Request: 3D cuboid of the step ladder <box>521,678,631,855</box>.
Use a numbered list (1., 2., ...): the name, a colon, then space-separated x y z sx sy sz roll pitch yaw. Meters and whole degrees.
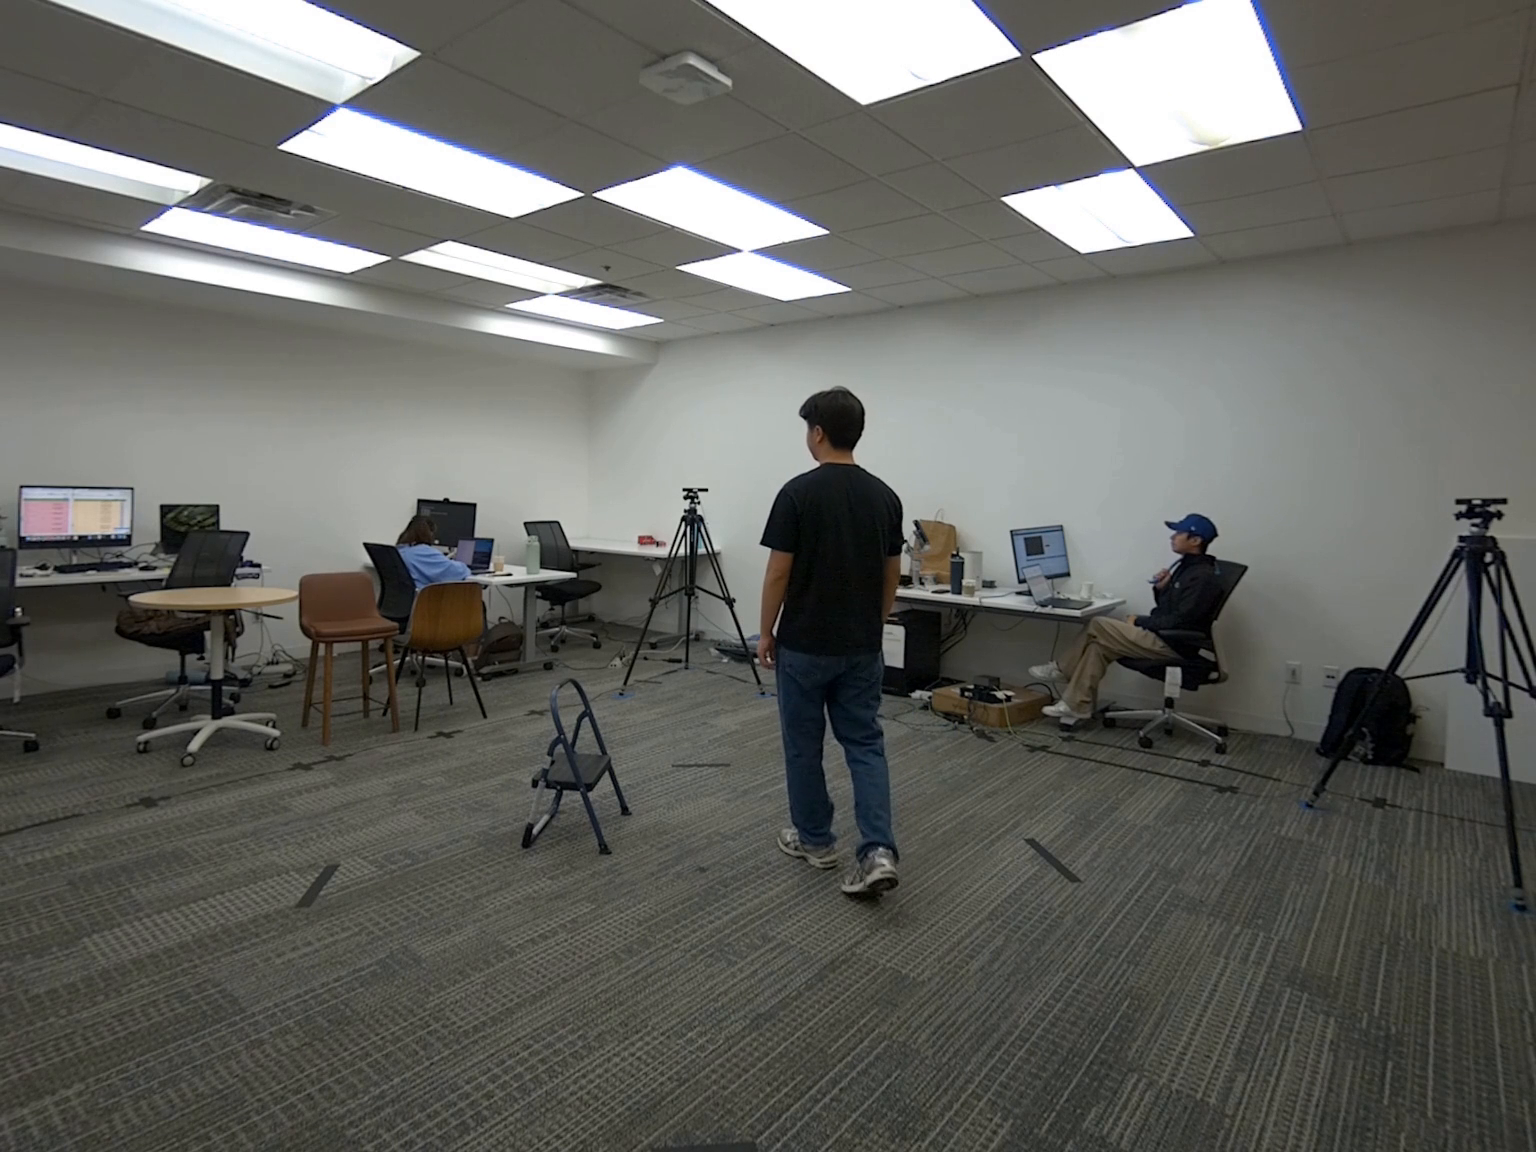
1. step ladder: -0.774 0.728 3.436 0.351 0.605 0.430 1 3 2
